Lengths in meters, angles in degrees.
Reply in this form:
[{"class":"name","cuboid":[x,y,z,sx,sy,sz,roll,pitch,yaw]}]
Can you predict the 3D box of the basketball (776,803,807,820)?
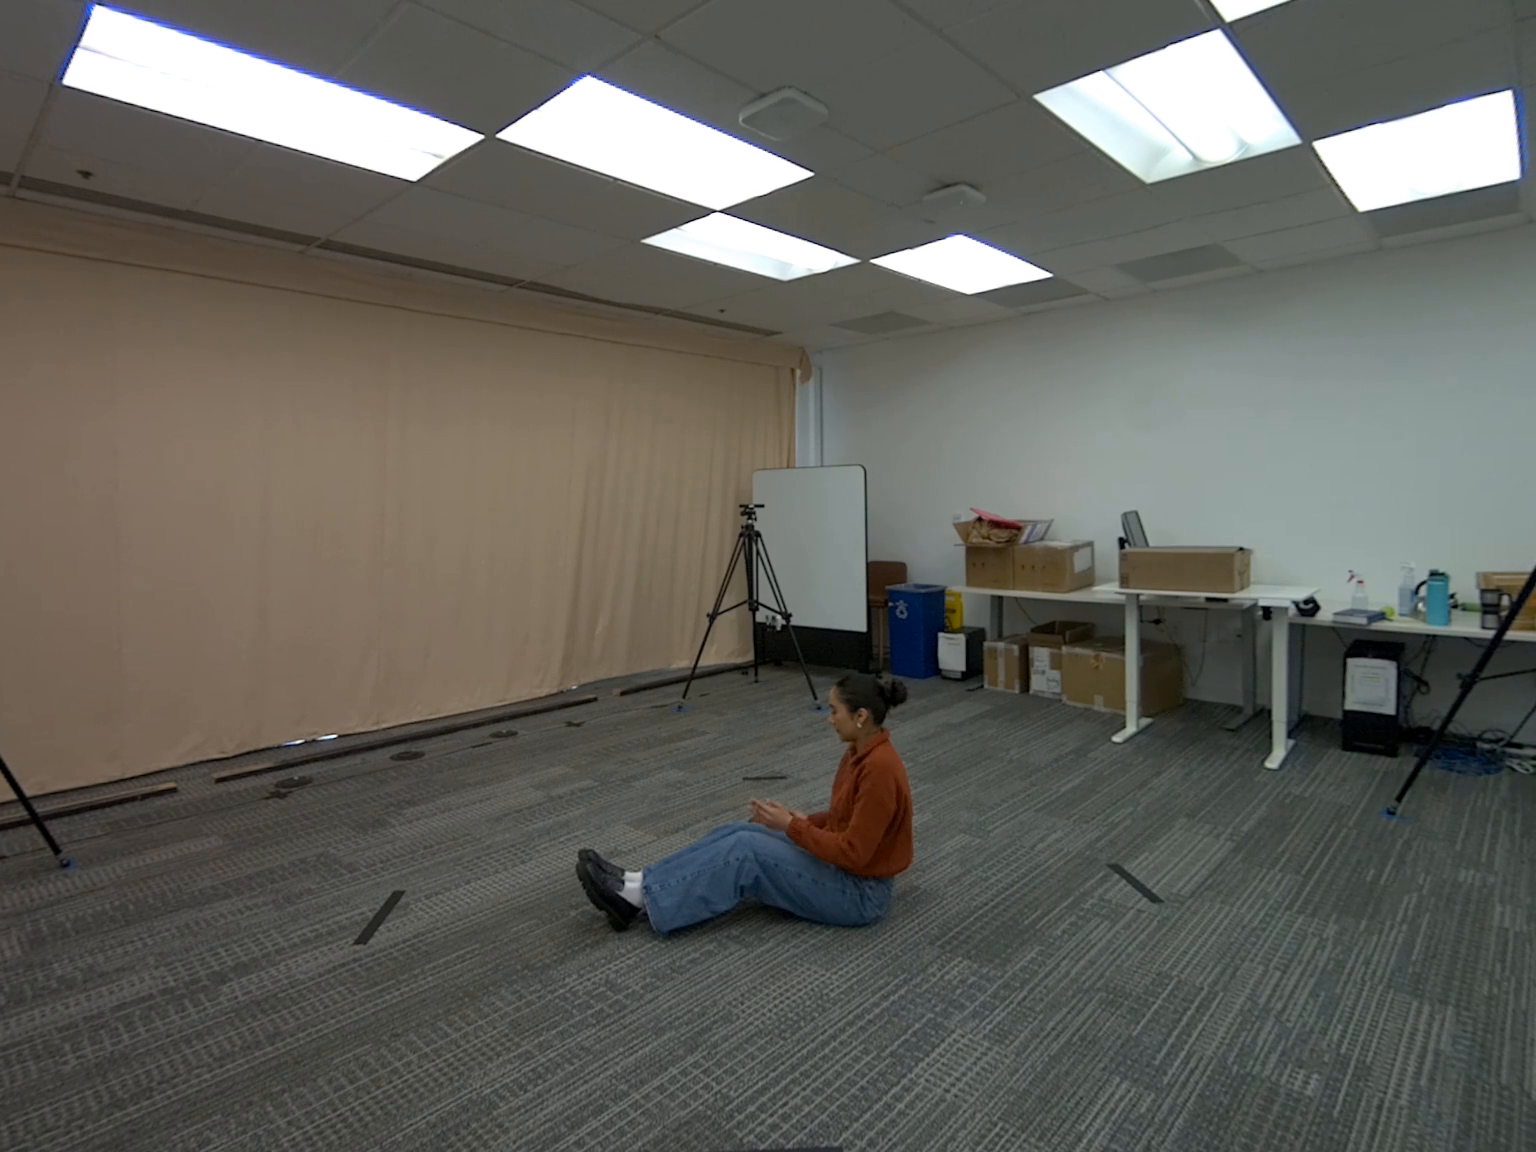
[{"class":"basketball","cuboid":[0.022,1.004,3.174,0.236,0.235,0.237,-1,4,-2]}]
